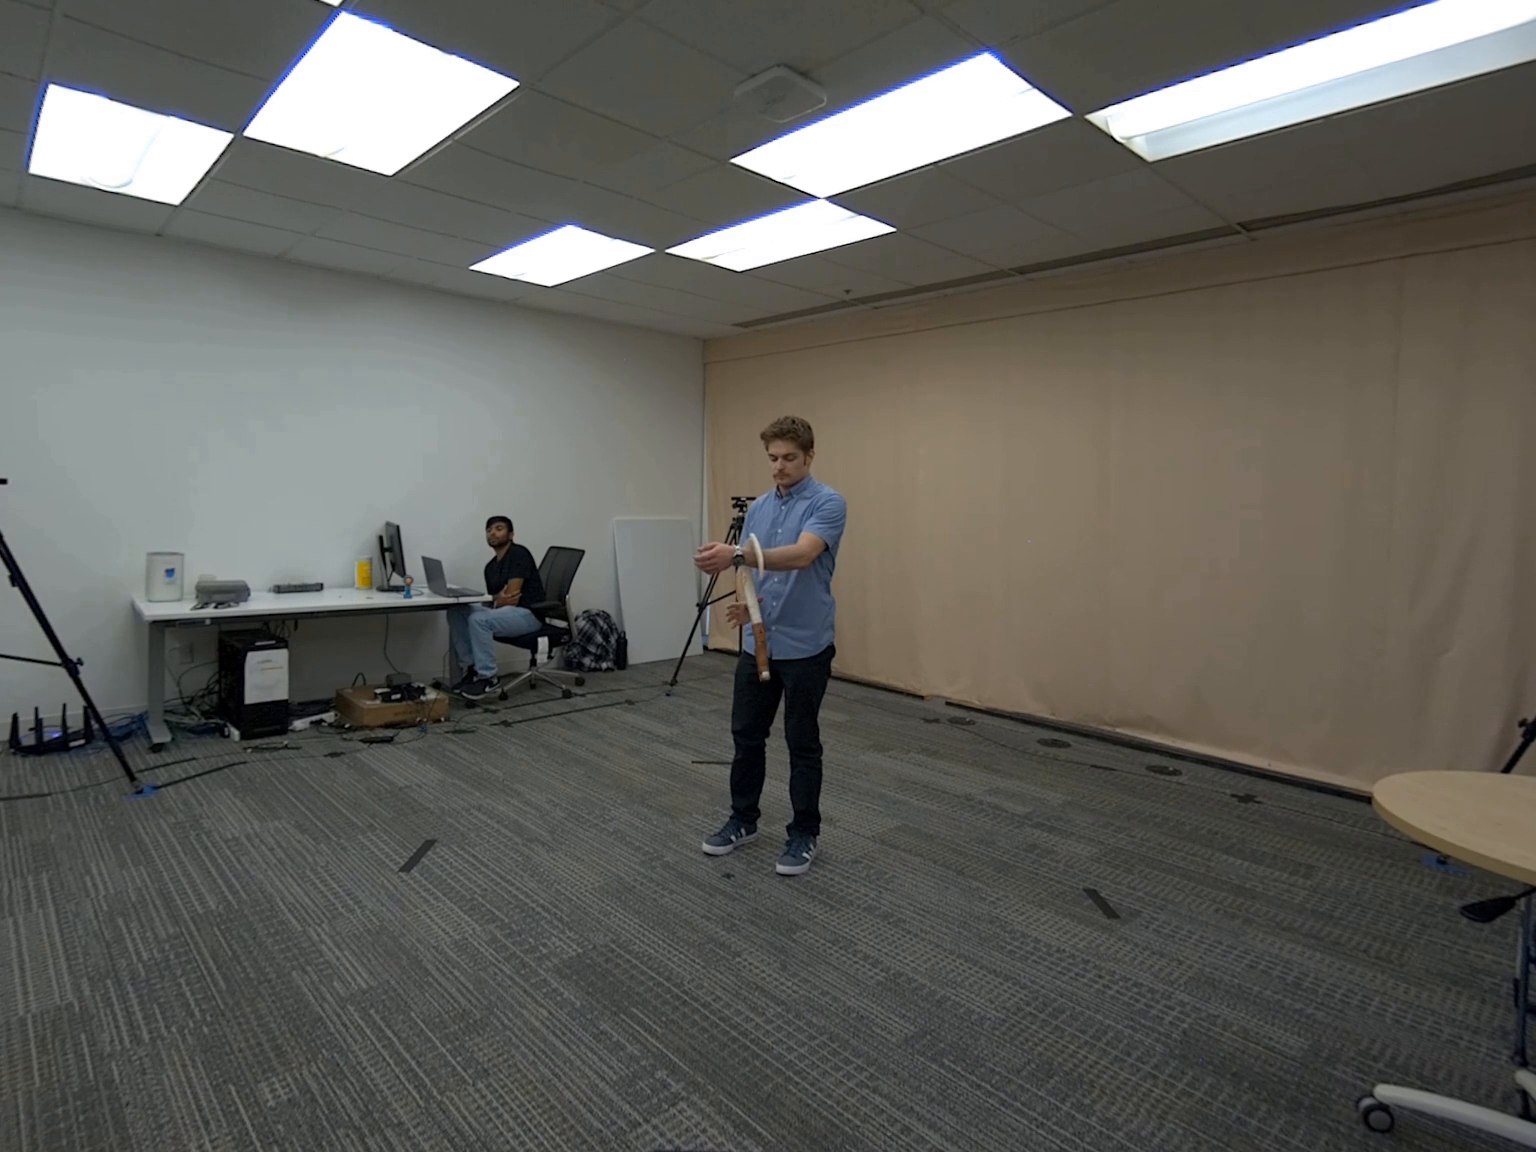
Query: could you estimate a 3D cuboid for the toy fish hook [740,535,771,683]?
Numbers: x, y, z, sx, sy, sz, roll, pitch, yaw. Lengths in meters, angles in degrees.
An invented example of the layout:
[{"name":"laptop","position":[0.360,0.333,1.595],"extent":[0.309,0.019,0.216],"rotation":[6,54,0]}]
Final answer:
[{"name":"toy fish hook","position":[-0.050,0.099,2.868],"extent":[0.048,0.516,0.221],"rotation":[-6,-24,-4]}]
